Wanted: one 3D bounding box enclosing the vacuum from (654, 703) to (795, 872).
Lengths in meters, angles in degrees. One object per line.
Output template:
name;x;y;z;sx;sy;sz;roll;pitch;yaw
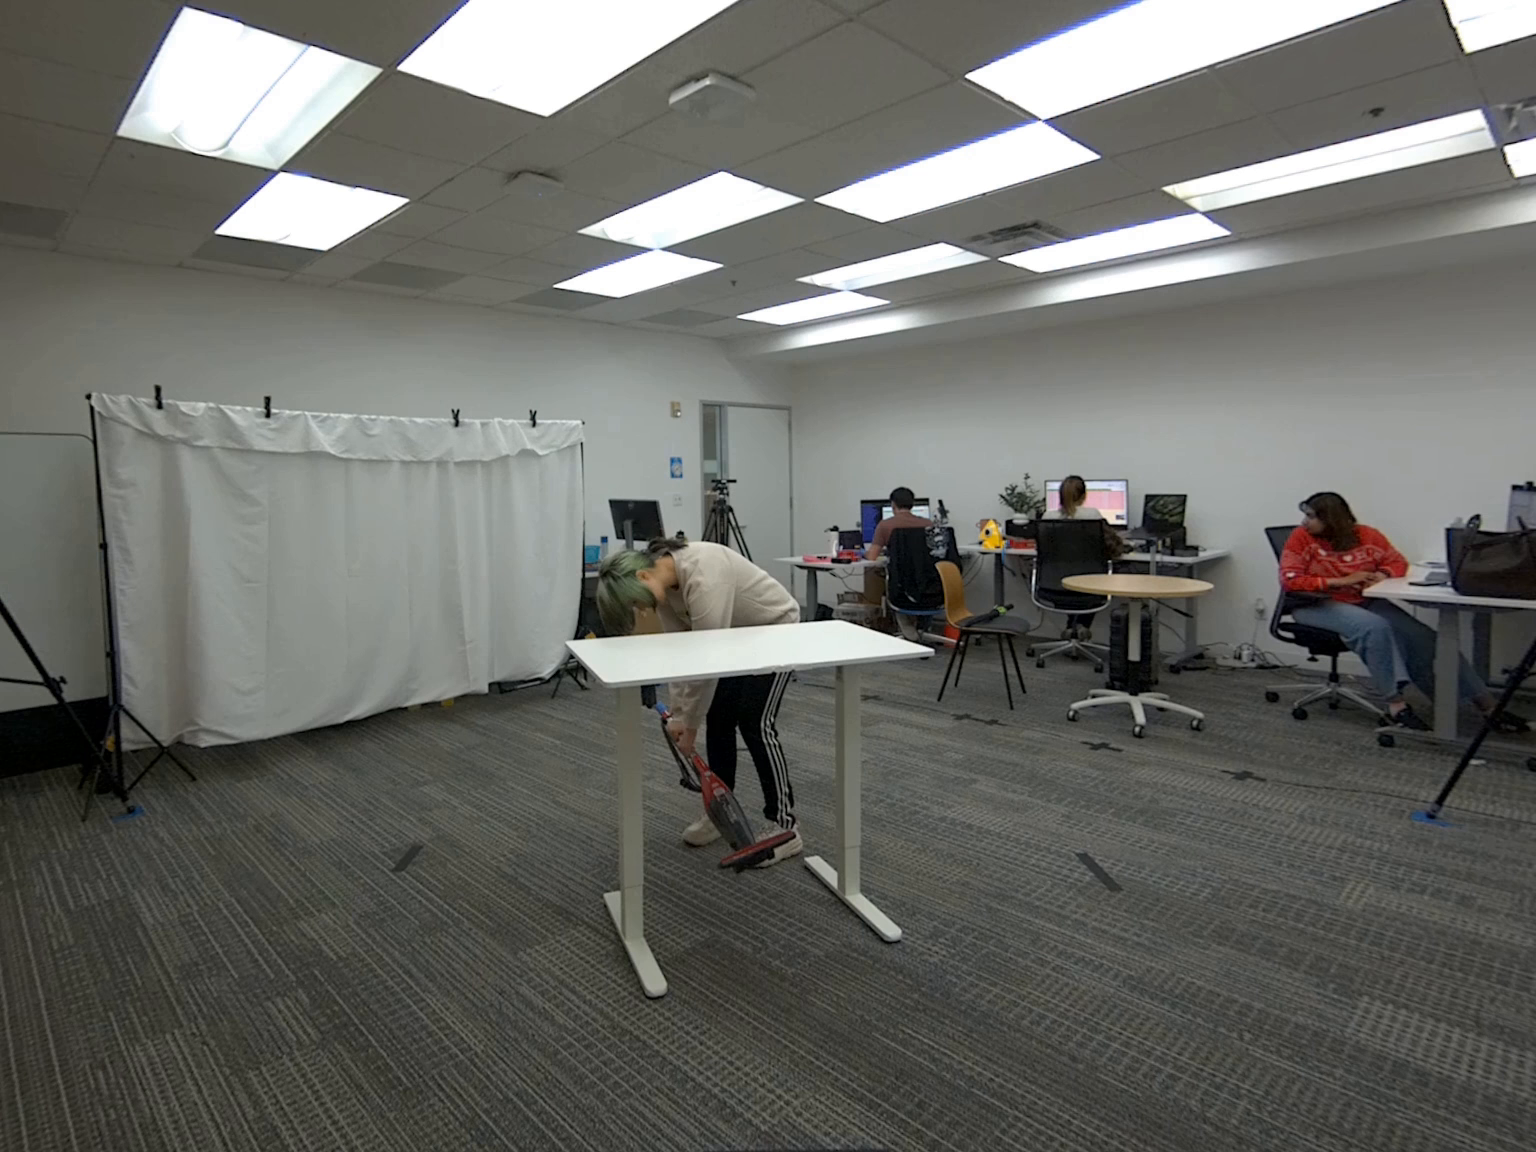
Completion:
vacuum;-0.265;0.691;3.073;0.250;0.140;1.085;-21;26;-17
